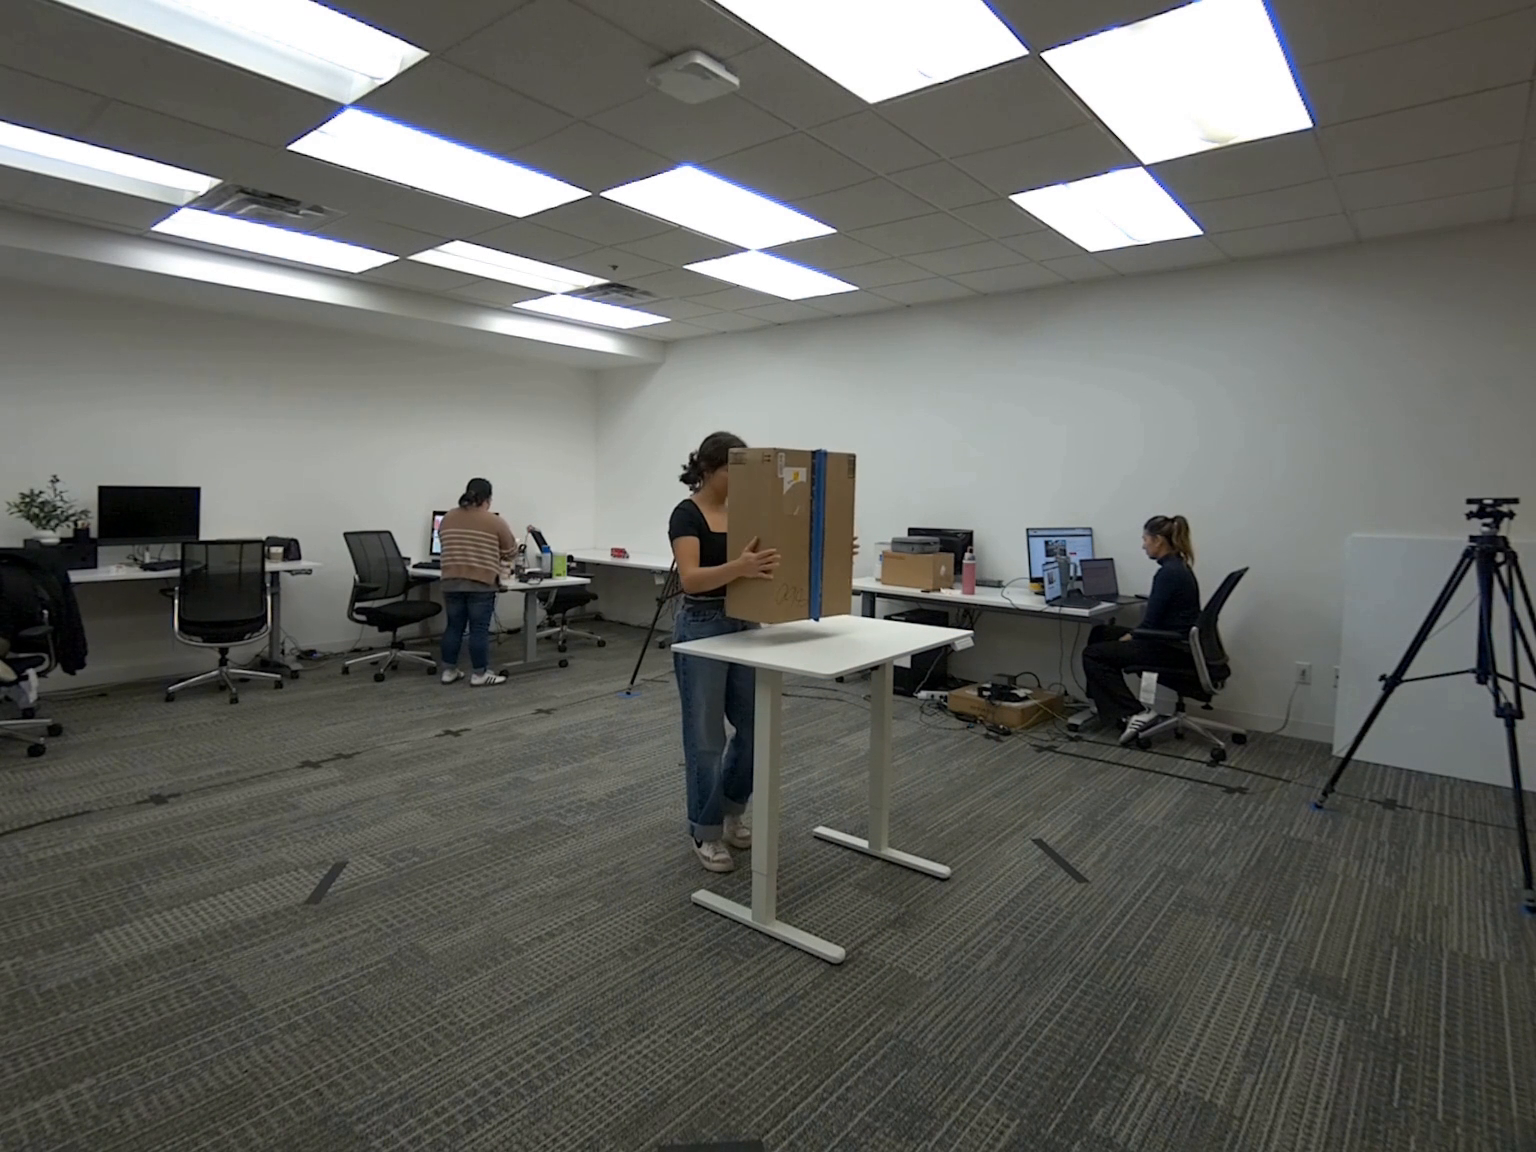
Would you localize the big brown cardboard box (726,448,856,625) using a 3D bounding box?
[{"bbox_3d":[0.072,-0.152,2.919,0.405,0.586,0.241,-4,7,-43],"label":"big brown cardboard box"}]
